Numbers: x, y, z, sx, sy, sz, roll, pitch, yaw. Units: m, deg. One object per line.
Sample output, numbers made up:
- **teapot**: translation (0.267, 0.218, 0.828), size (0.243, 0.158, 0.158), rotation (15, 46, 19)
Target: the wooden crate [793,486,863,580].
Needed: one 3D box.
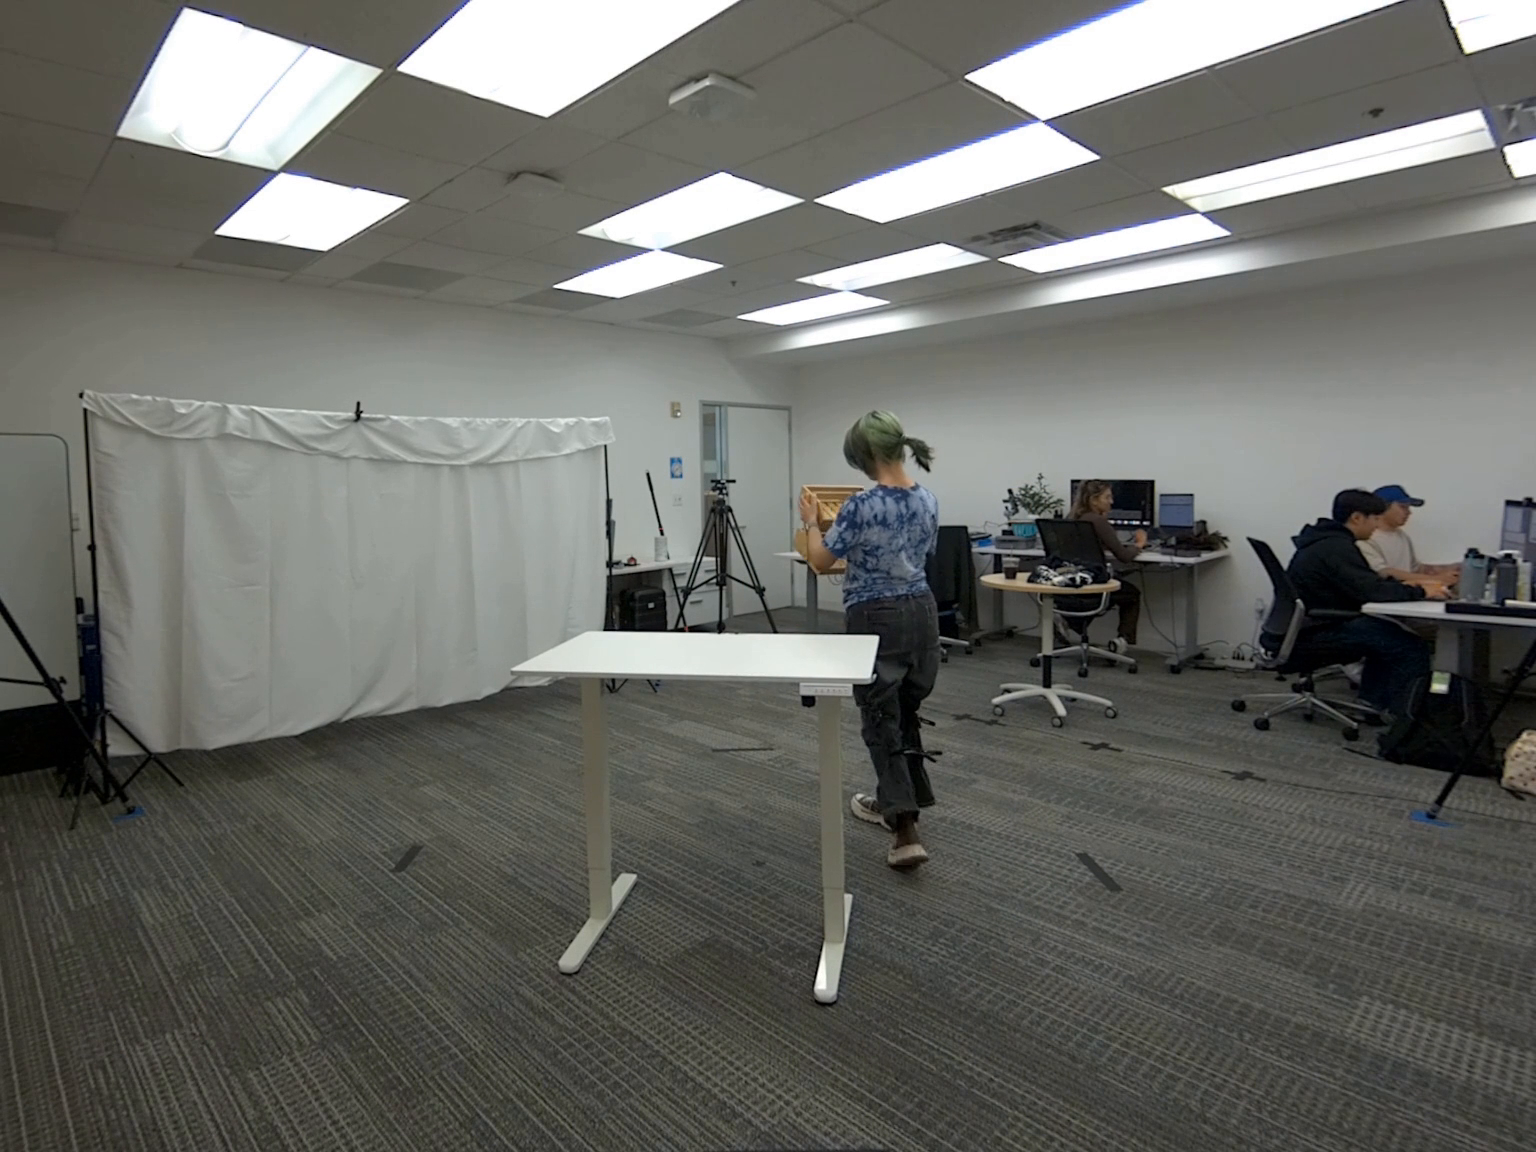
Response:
- **wooden crate**: translation (0.310, -0.187, 3.517), size (0.317, 0.269, 0.314), rotation (-2, 31, -28)
